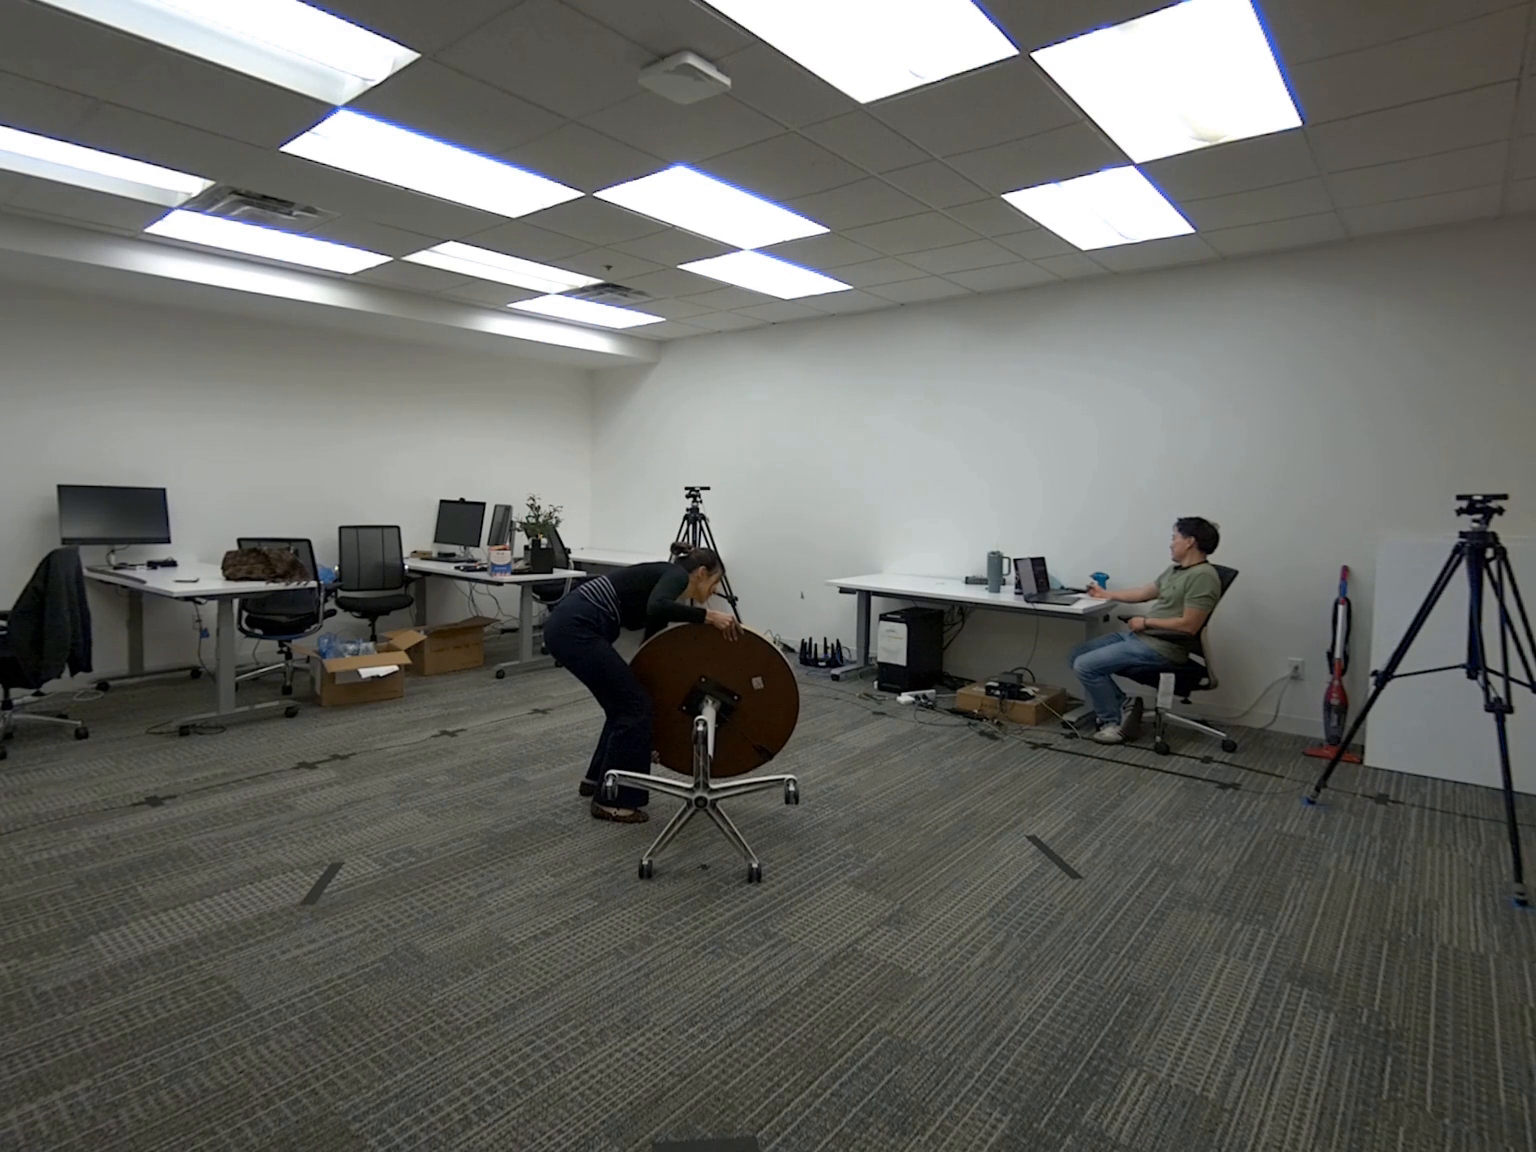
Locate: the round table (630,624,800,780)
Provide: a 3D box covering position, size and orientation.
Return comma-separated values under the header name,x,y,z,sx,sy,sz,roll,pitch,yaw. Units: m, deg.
name,x,y,z,sx,sy,sz,roll,pitch,yaw
round table,-0.252,0.677,3.284,0.766,0.749,0.807,1,21,2
